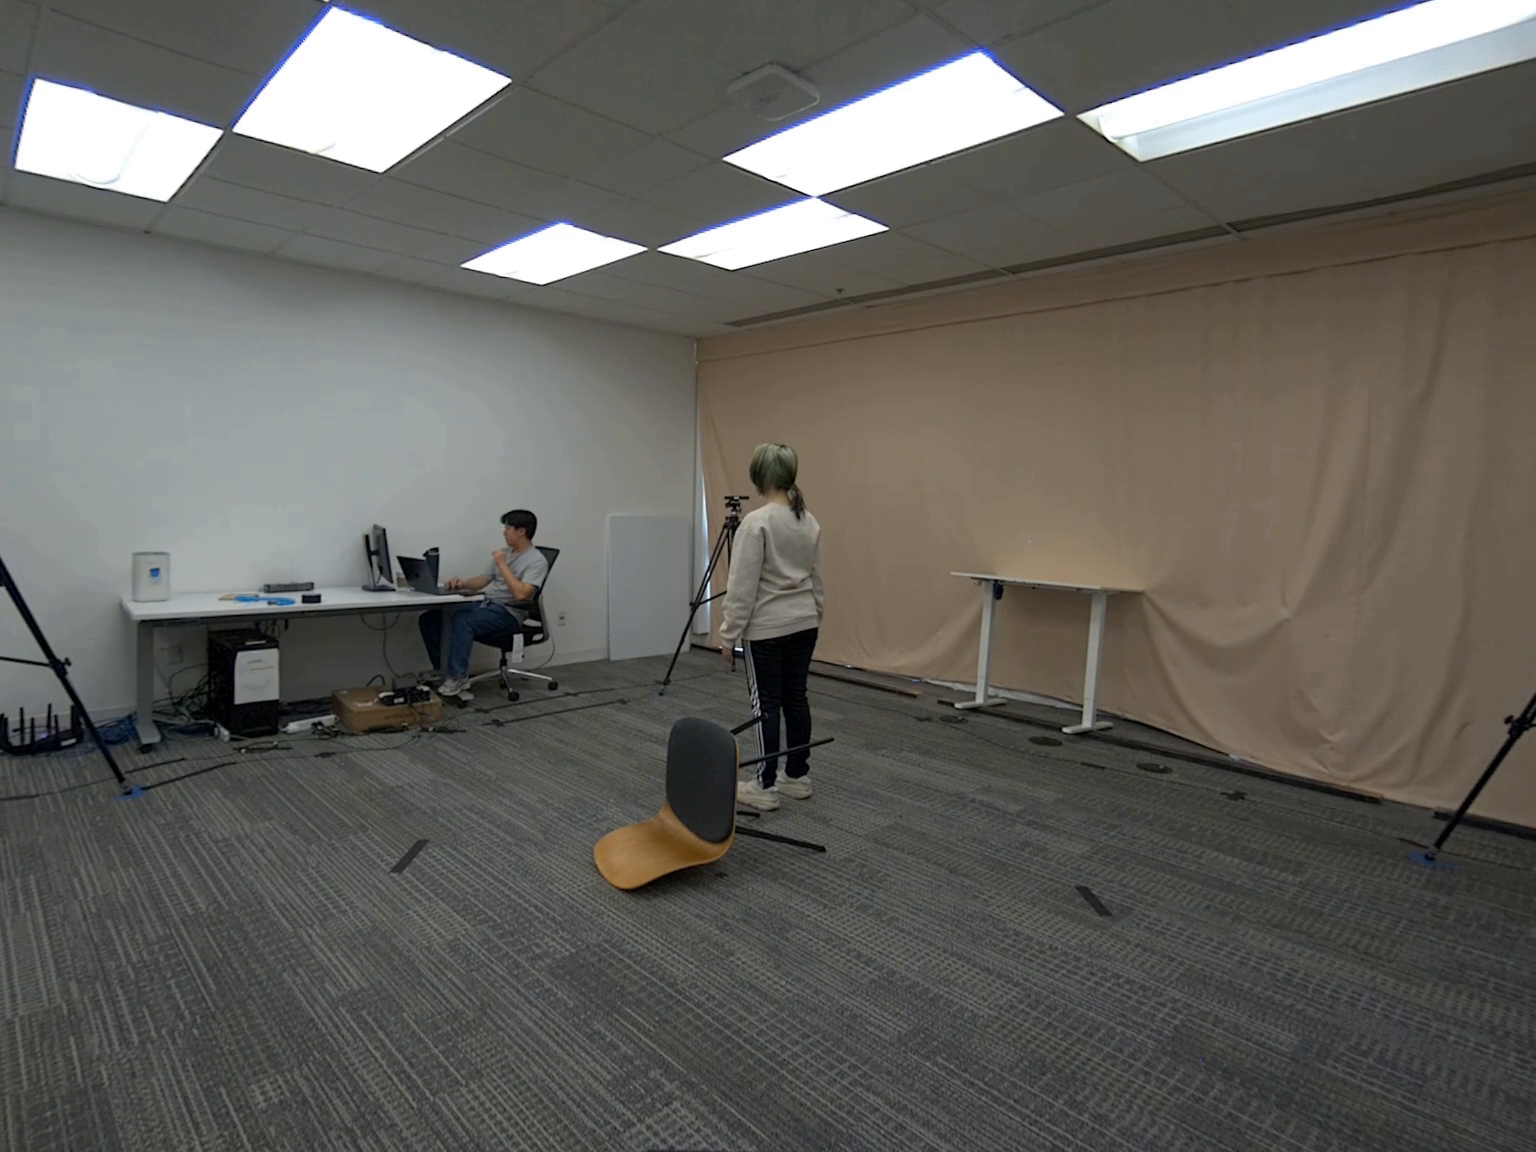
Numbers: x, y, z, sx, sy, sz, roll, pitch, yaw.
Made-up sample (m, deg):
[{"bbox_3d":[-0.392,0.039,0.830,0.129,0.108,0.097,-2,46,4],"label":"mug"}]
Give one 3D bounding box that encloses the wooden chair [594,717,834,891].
[{"bbox_3d":[-0.235,0.831,3.263,0.858,0.522,0.490,-3,5,-36],"label":"wooden chair"}]
